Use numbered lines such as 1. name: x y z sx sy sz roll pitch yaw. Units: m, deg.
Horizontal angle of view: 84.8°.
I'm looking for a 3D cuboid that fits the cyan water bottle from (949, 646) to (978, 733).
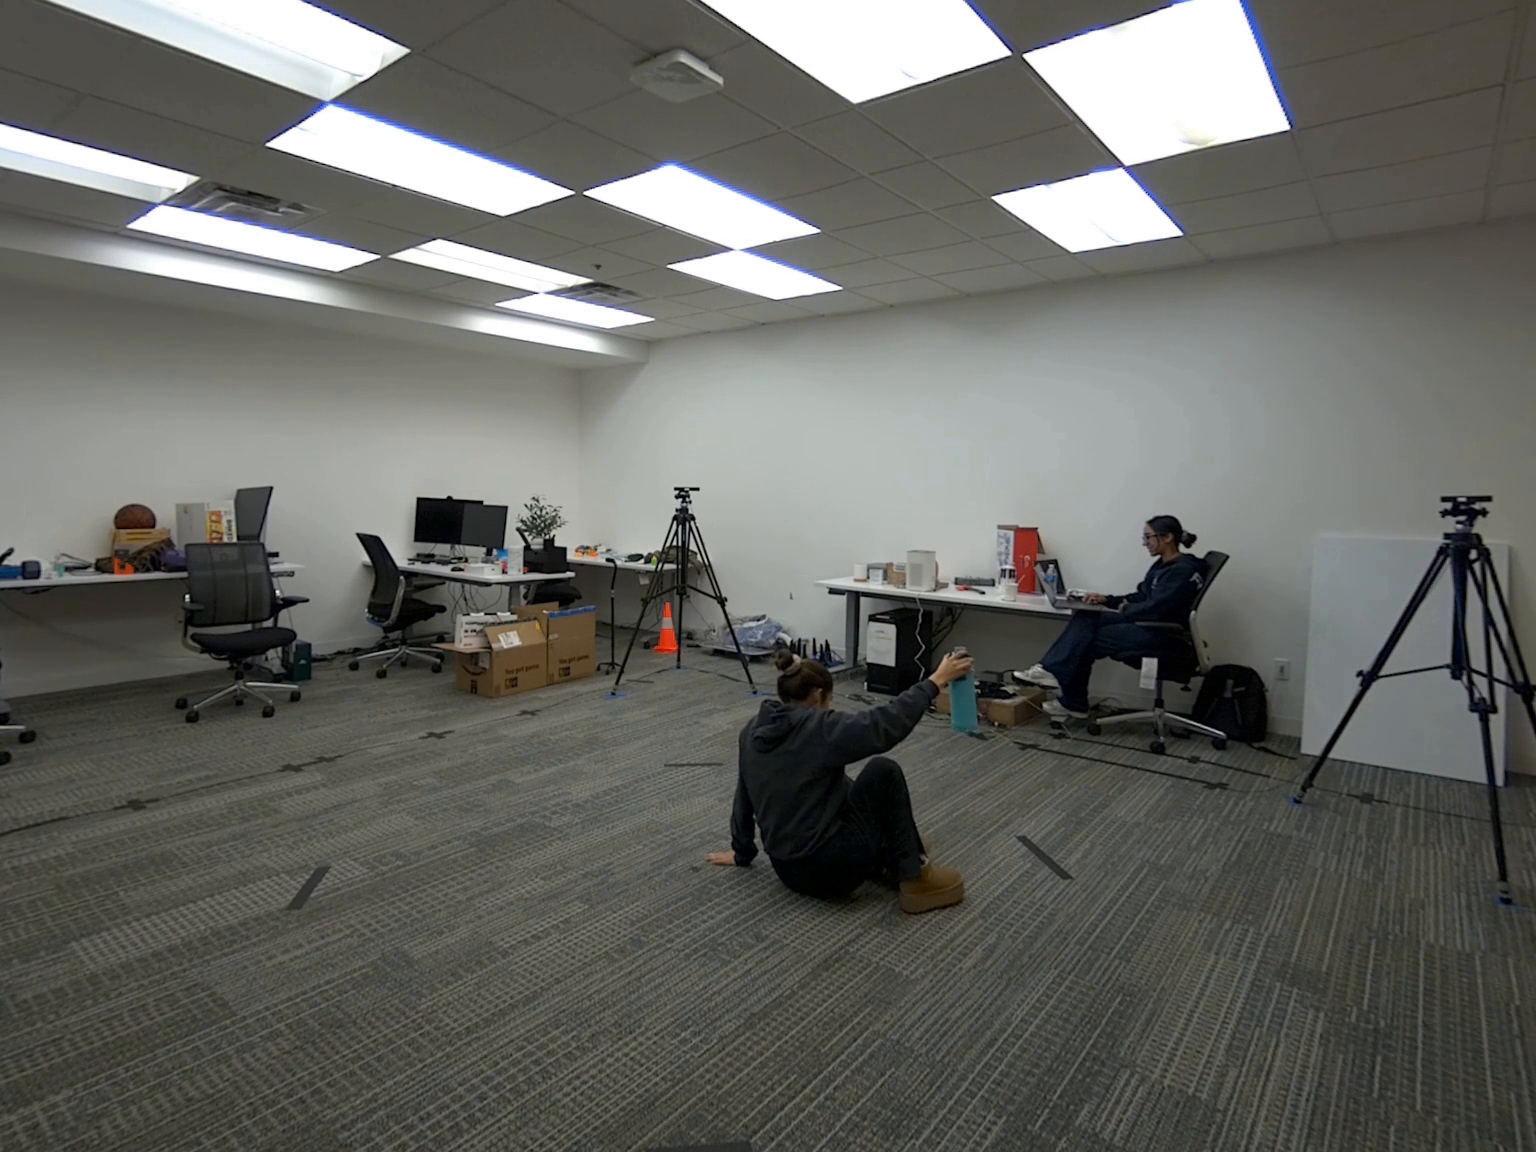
1. cyan water bottle: 0.693 0.397 3.030 0.092 0.283 0.092 -1 -1 -2
